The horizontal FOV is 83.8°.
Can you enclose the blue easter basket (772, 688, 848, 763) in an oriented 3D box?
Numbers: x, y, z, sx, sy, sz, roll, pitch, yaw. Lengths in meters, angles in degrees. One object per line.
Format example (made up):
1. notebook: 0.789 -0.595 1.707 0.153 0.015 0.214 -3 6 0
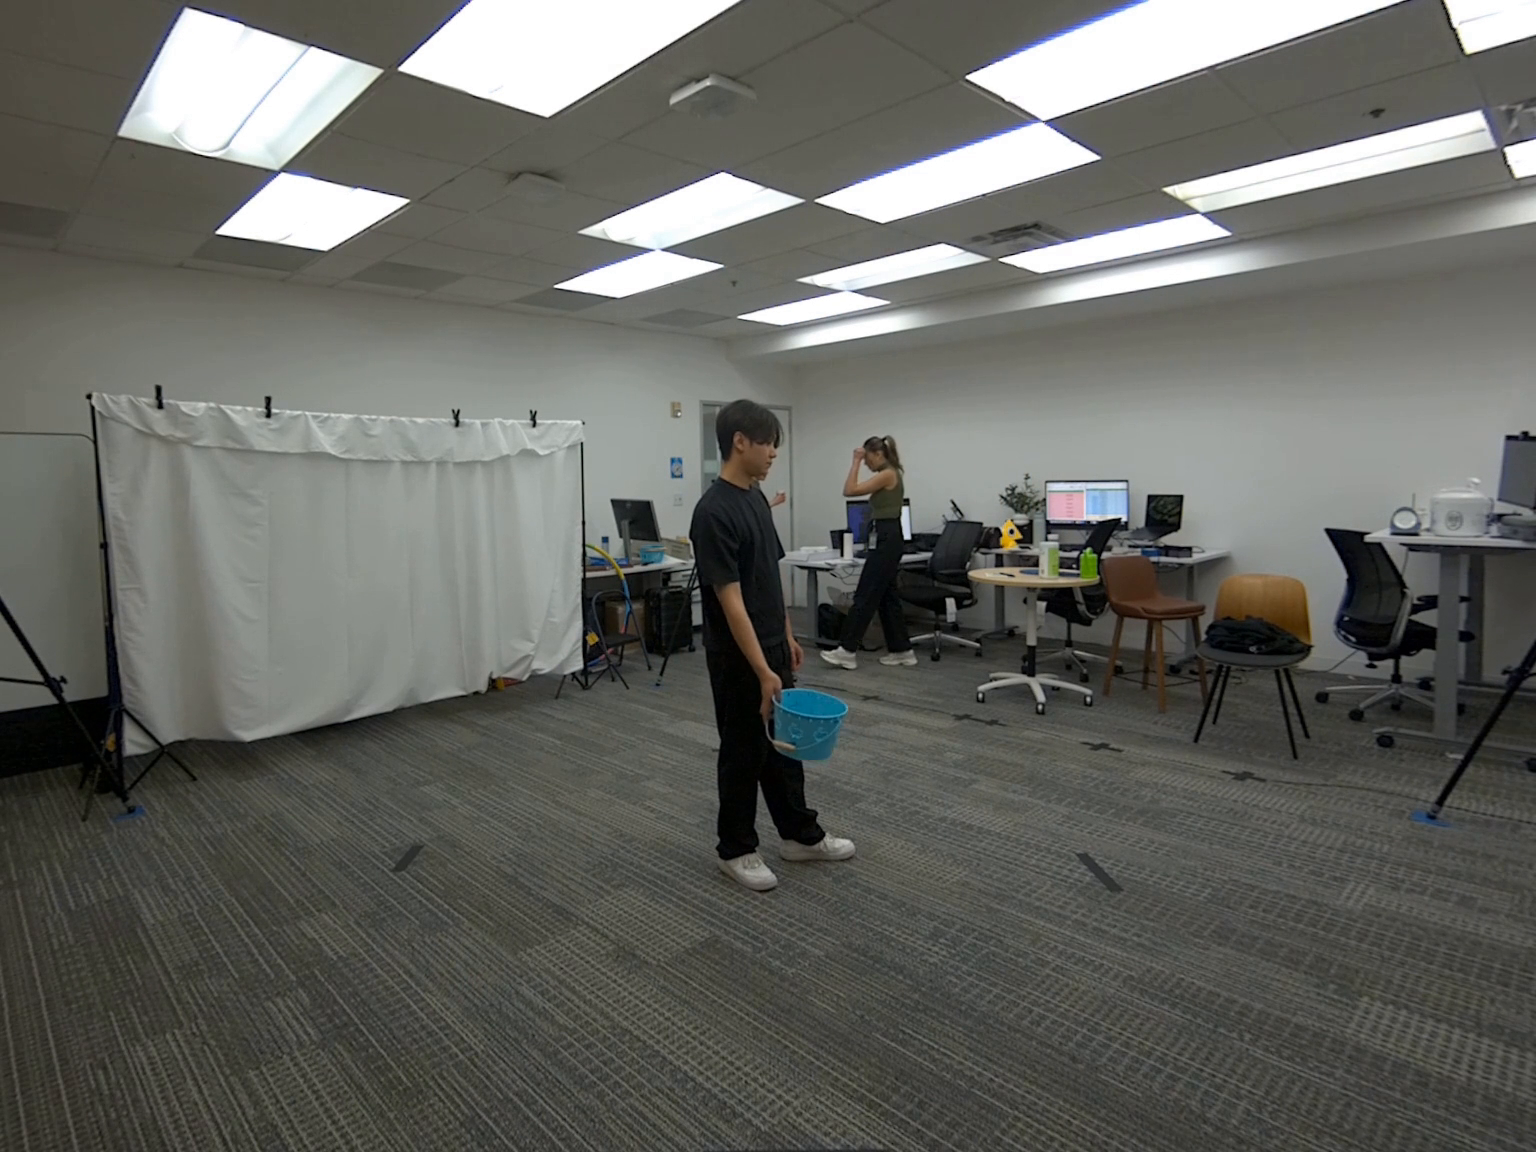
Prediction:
1. blue easter basket: 0.107 0.464 2.629 0.243 0.155 0.246 7 10 -3
